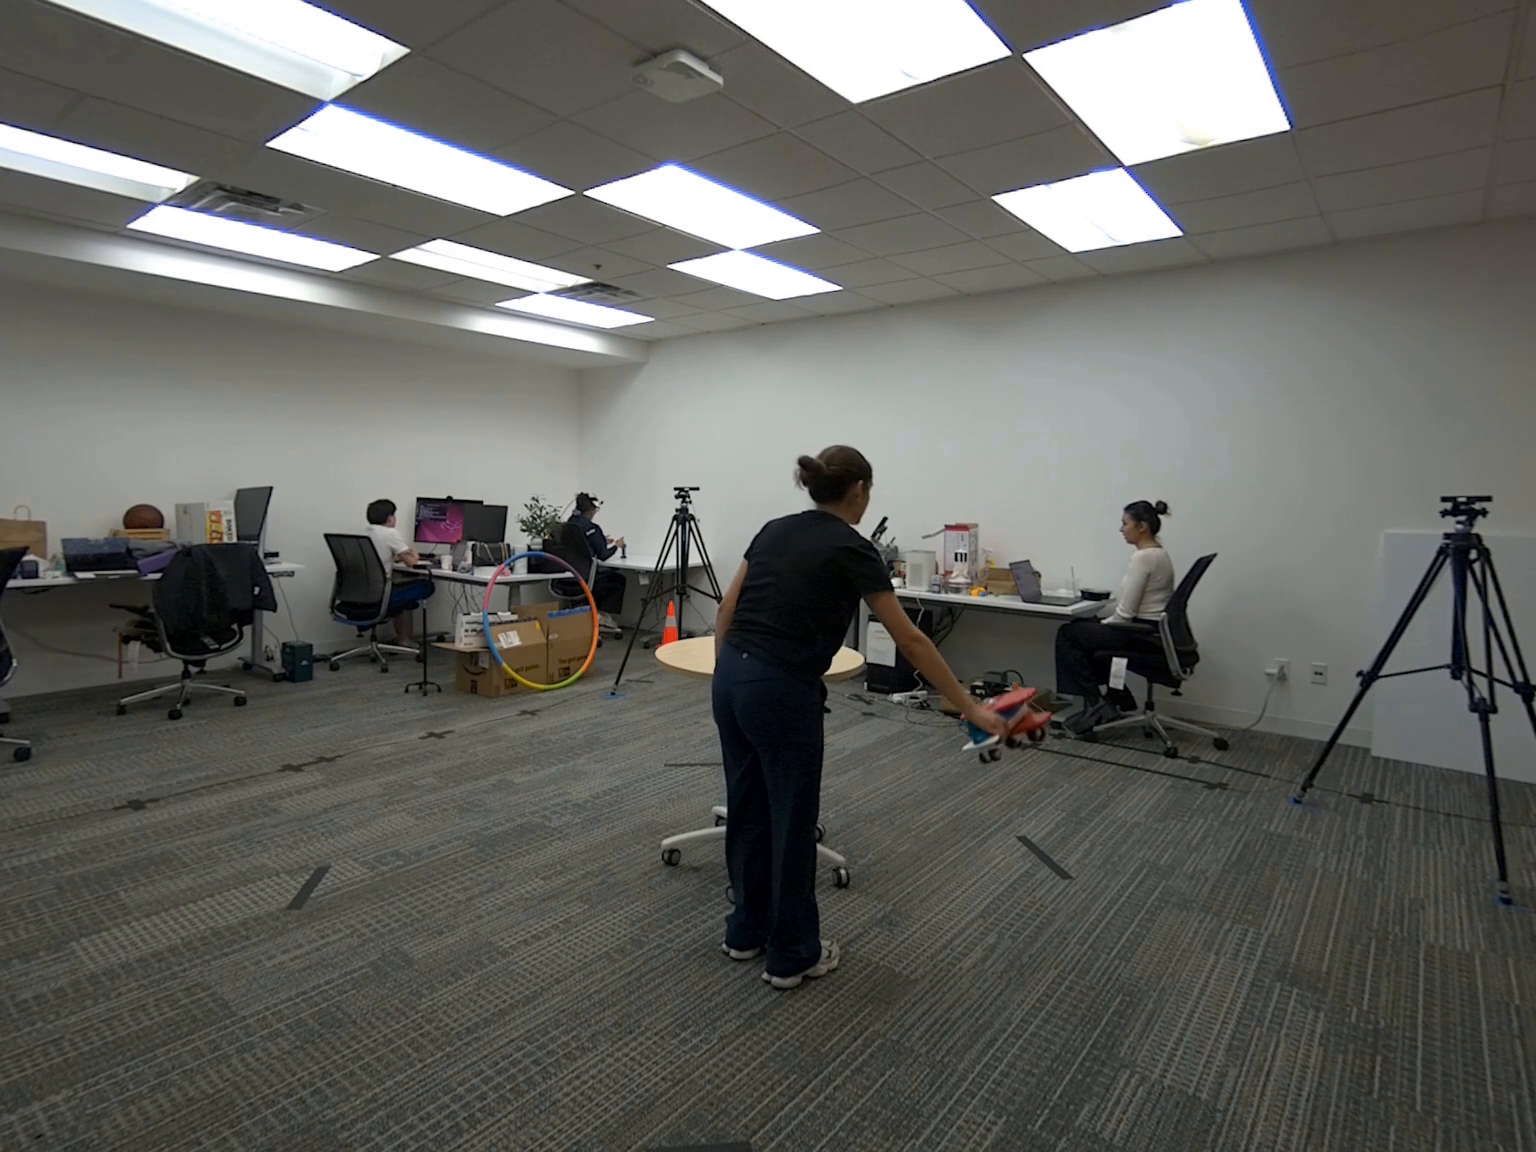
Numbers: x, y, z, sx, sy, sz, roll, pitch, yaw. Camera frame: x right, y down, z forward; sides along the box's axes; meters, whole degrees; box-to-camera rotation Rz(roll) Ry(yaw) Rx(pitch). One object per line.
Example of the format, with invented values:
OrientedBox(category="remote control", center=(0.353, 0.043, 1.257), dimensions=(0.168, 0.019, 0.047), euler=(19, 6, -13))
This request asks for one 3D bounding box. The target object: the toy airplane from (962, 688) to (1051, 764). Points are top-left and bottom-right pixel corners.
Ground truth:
OrientedBox(category="toy airplane", center=(0.672, 0.426, 2.404), dimensions=(0.254, 0.159, 0.252), euler=(-25, -13, 22))
